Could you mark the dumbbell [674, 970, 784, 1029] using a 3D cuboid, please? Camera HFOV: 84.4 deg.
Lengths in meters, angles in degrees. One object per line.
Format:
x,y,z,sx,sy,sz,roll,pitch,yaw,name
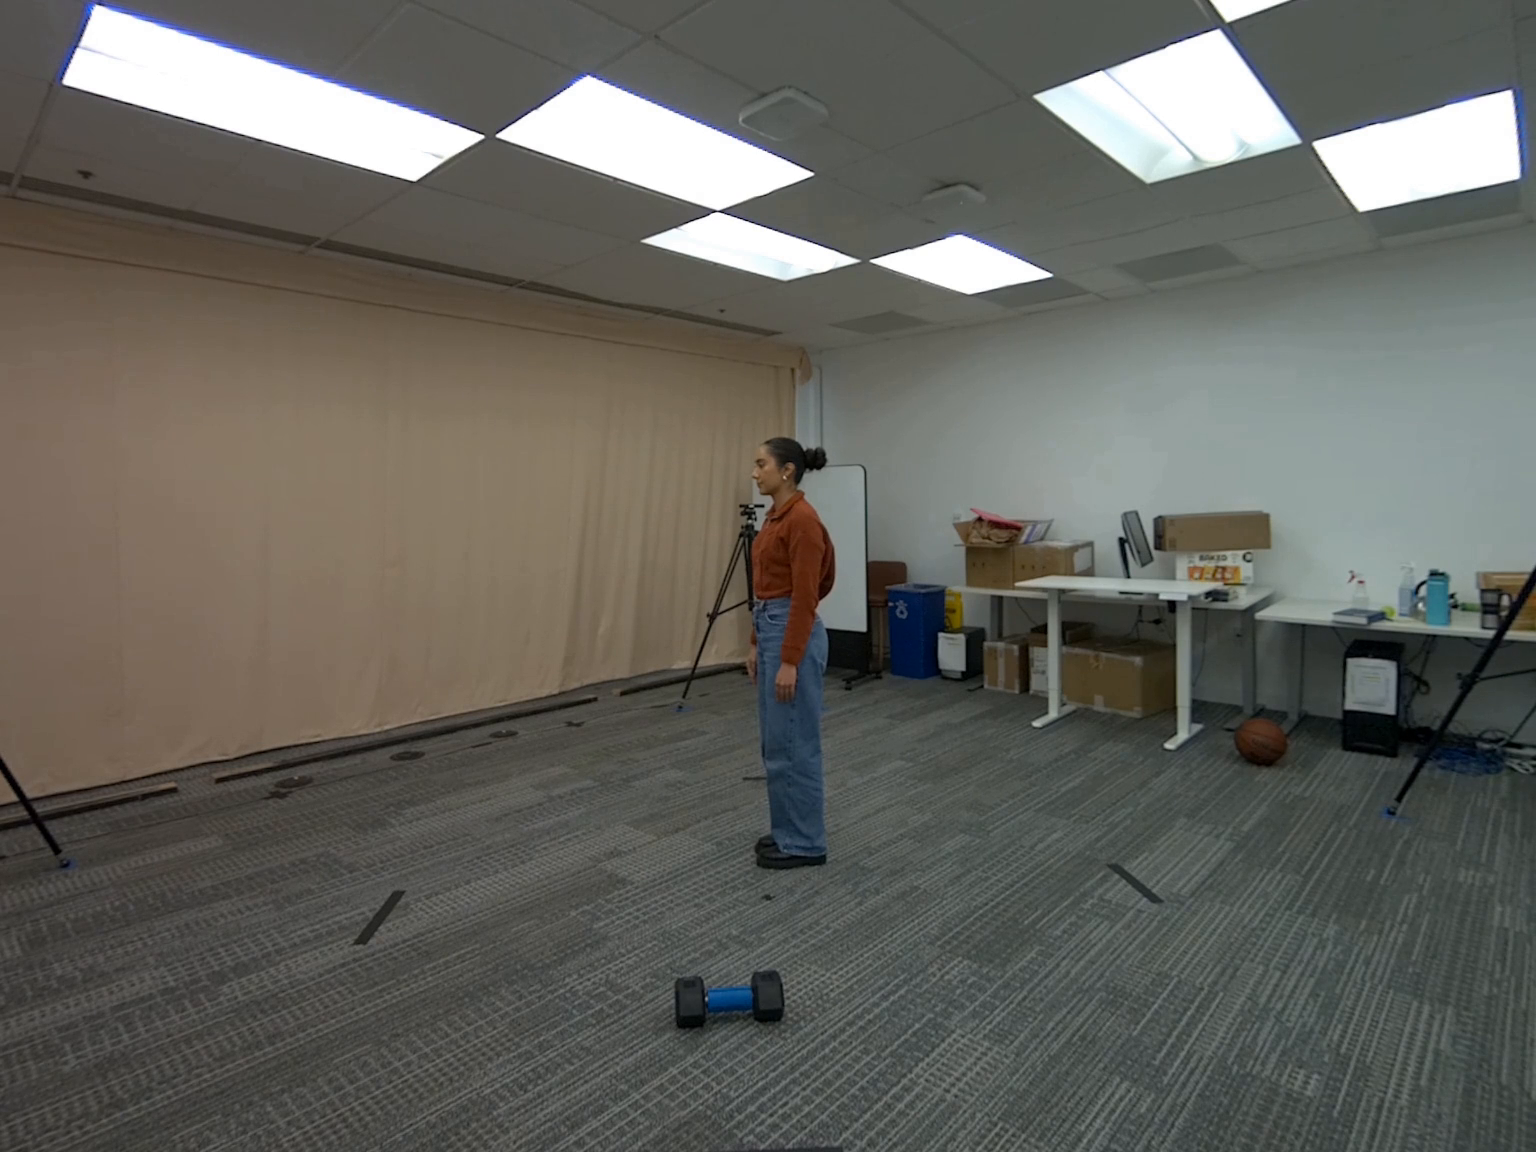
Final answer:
-0.107,1.152,2.273,0.293,0.125,0.107,-1,-25,-2,dumbbell
